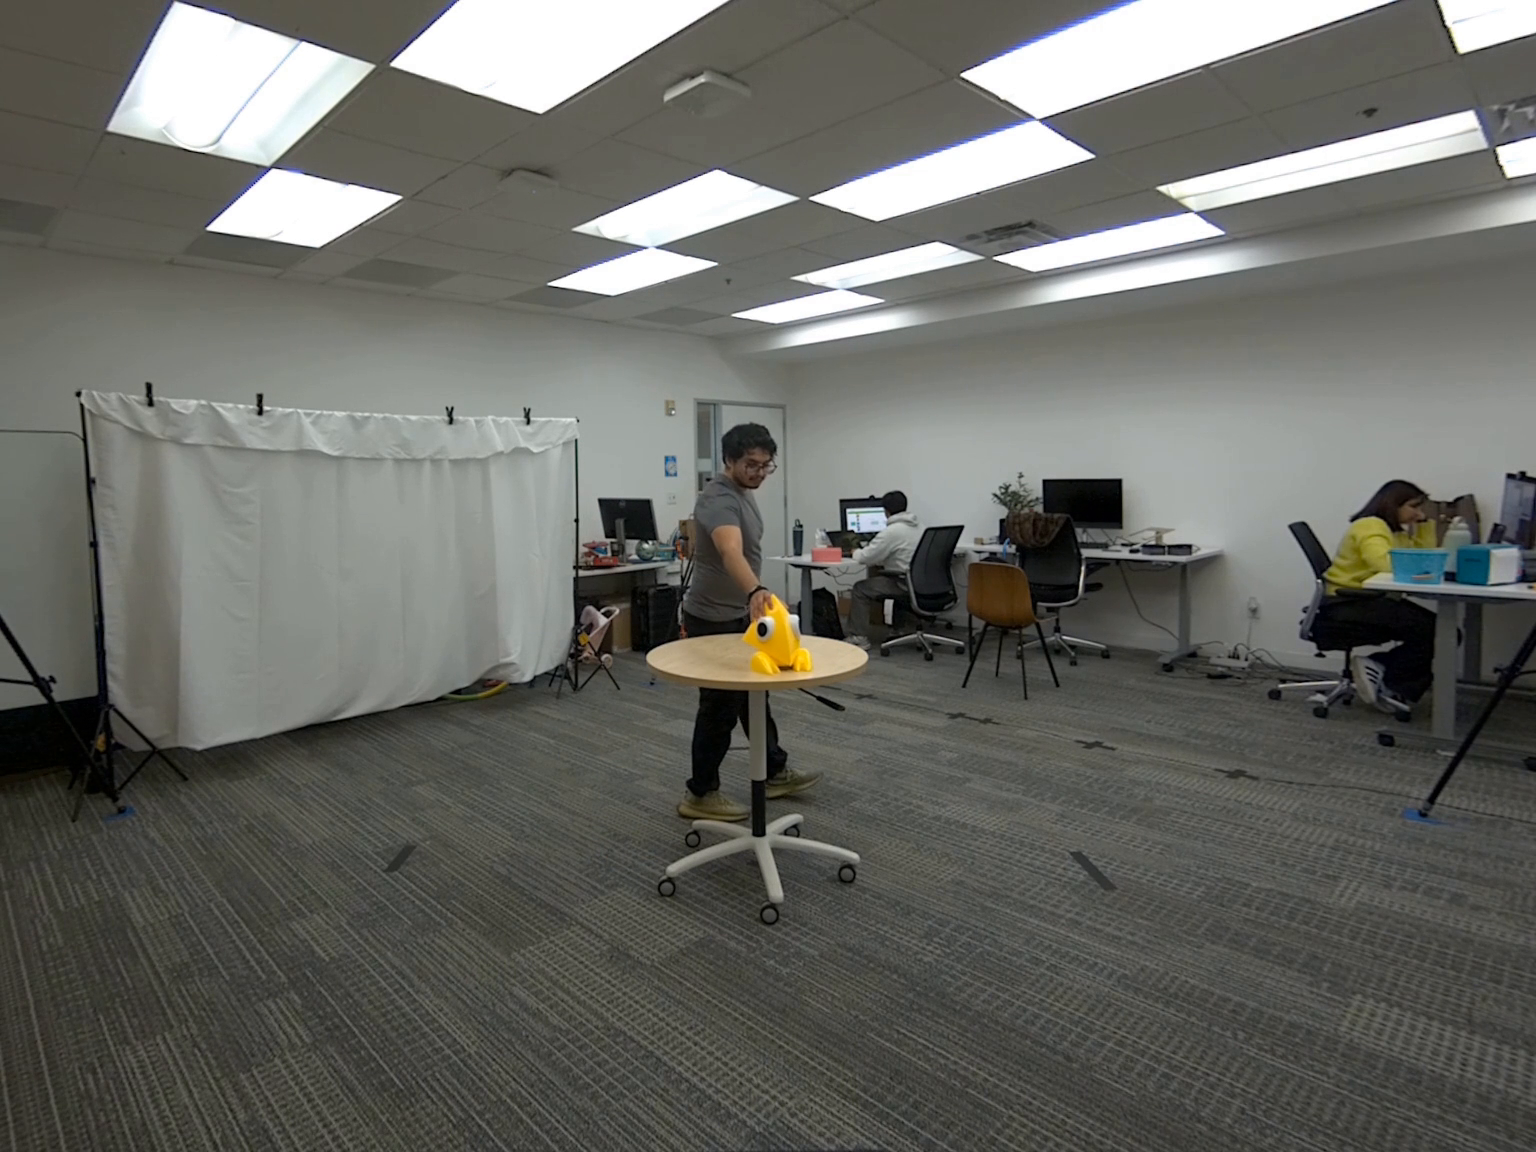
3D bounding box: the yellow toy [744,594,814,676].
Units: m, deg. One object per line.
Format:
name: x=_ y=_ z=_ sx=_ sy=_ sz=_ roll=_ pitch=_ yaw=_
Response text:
yellow toy: x=0.043 y=0.183 z=2.775 sx=0.201 sy=0.230 sz=0.197 roll=-2 pitch=5 yaw=-18
